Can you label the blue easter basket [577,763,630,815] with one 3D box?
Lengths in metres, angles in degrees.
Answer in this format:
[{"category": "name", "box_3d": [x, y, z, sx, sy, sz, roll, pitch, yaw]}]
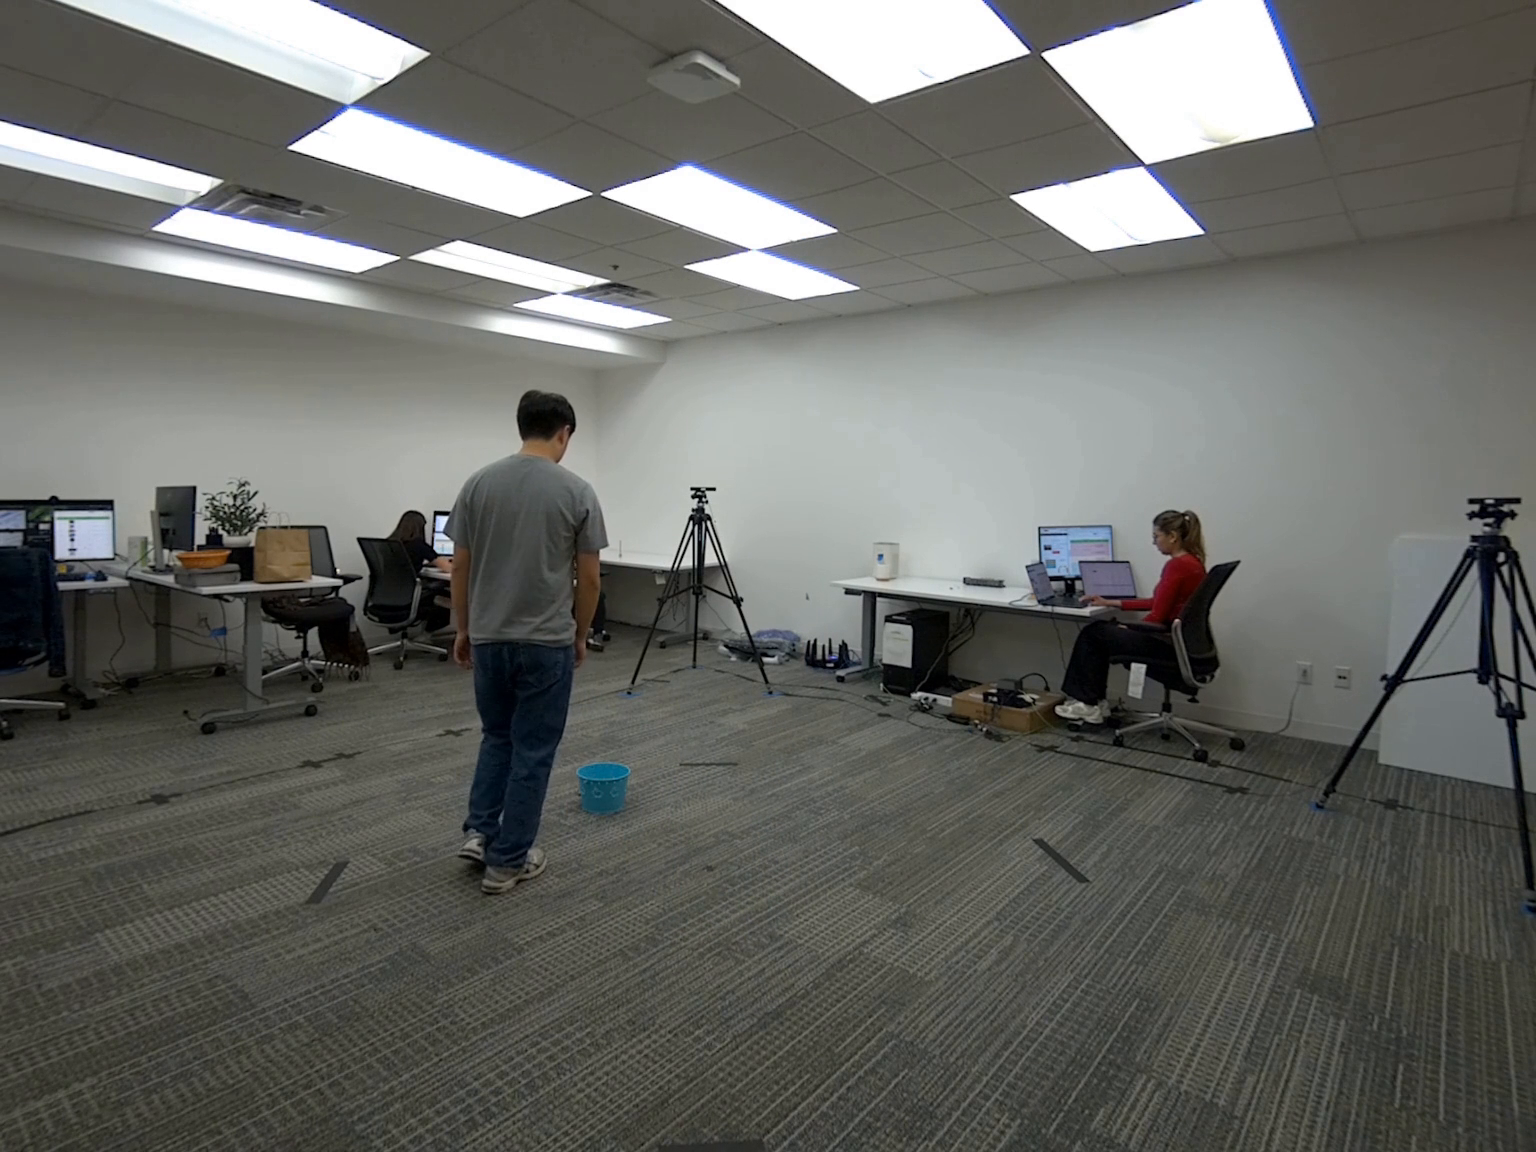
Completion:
[{"category": "blue easter basket", "box_3d": [-0.732, 0.919, 3.711, 0.243, 0.155, 0.245, 0, 5, -2]}]
